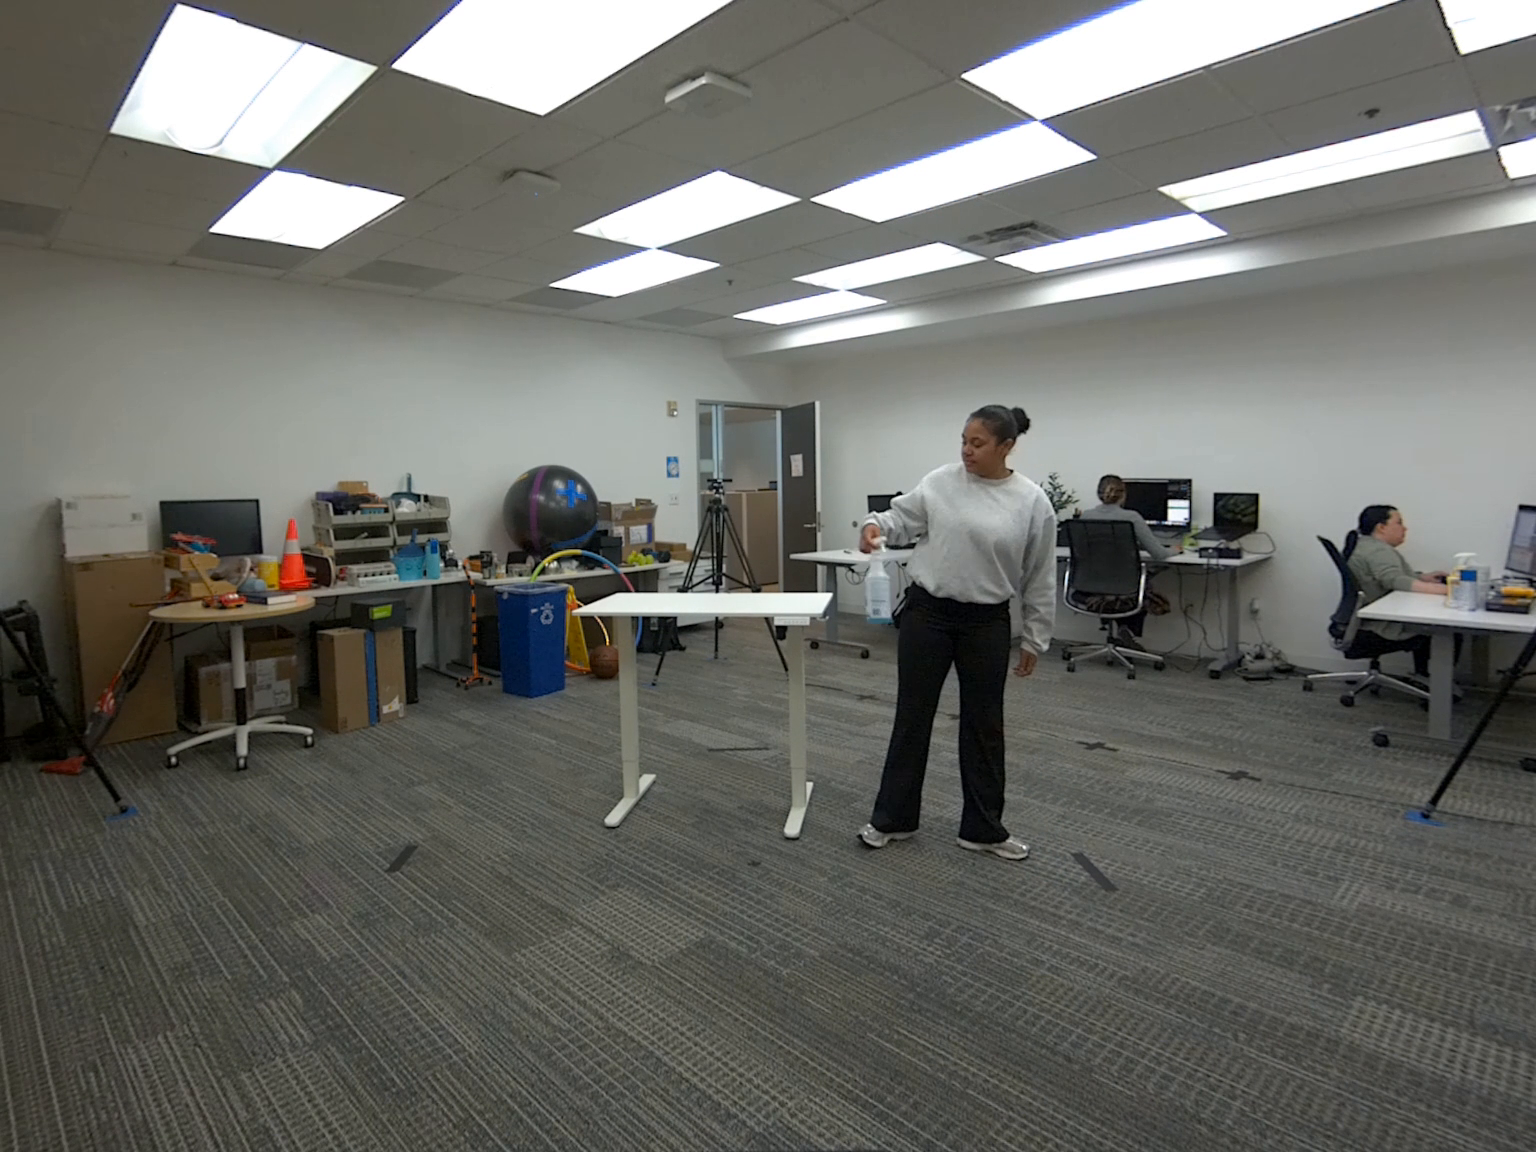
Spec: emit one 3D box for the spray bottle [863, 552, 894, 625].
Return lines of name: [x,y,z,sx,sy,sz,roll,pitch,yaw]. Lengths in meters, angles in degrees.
spray bottle: [0.395,0.030,2.986,0.087,0.299,0.090,3,-6,-5]
